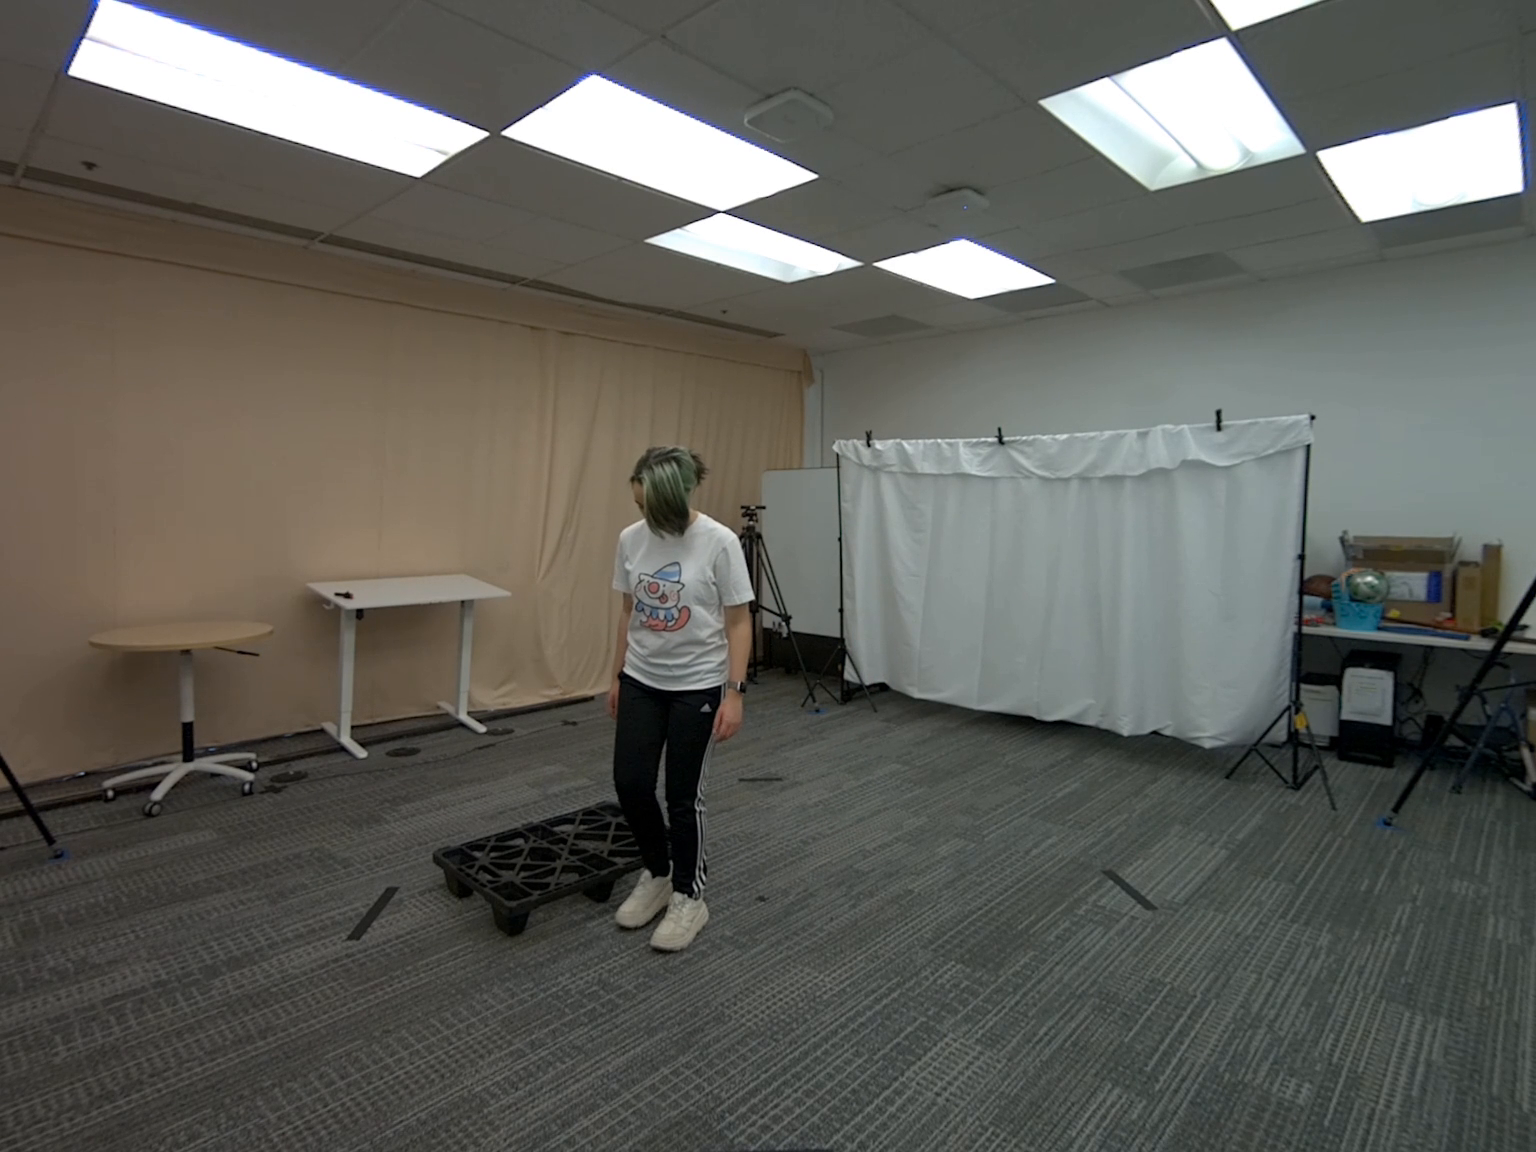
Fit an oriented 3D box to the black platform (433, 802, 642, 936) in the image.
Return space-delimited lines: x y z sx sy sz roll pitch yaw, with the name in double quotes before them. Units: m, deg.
"black platform" -0.741 1.071 3.139 0.781 0.143 0.625 -5 7 -43
